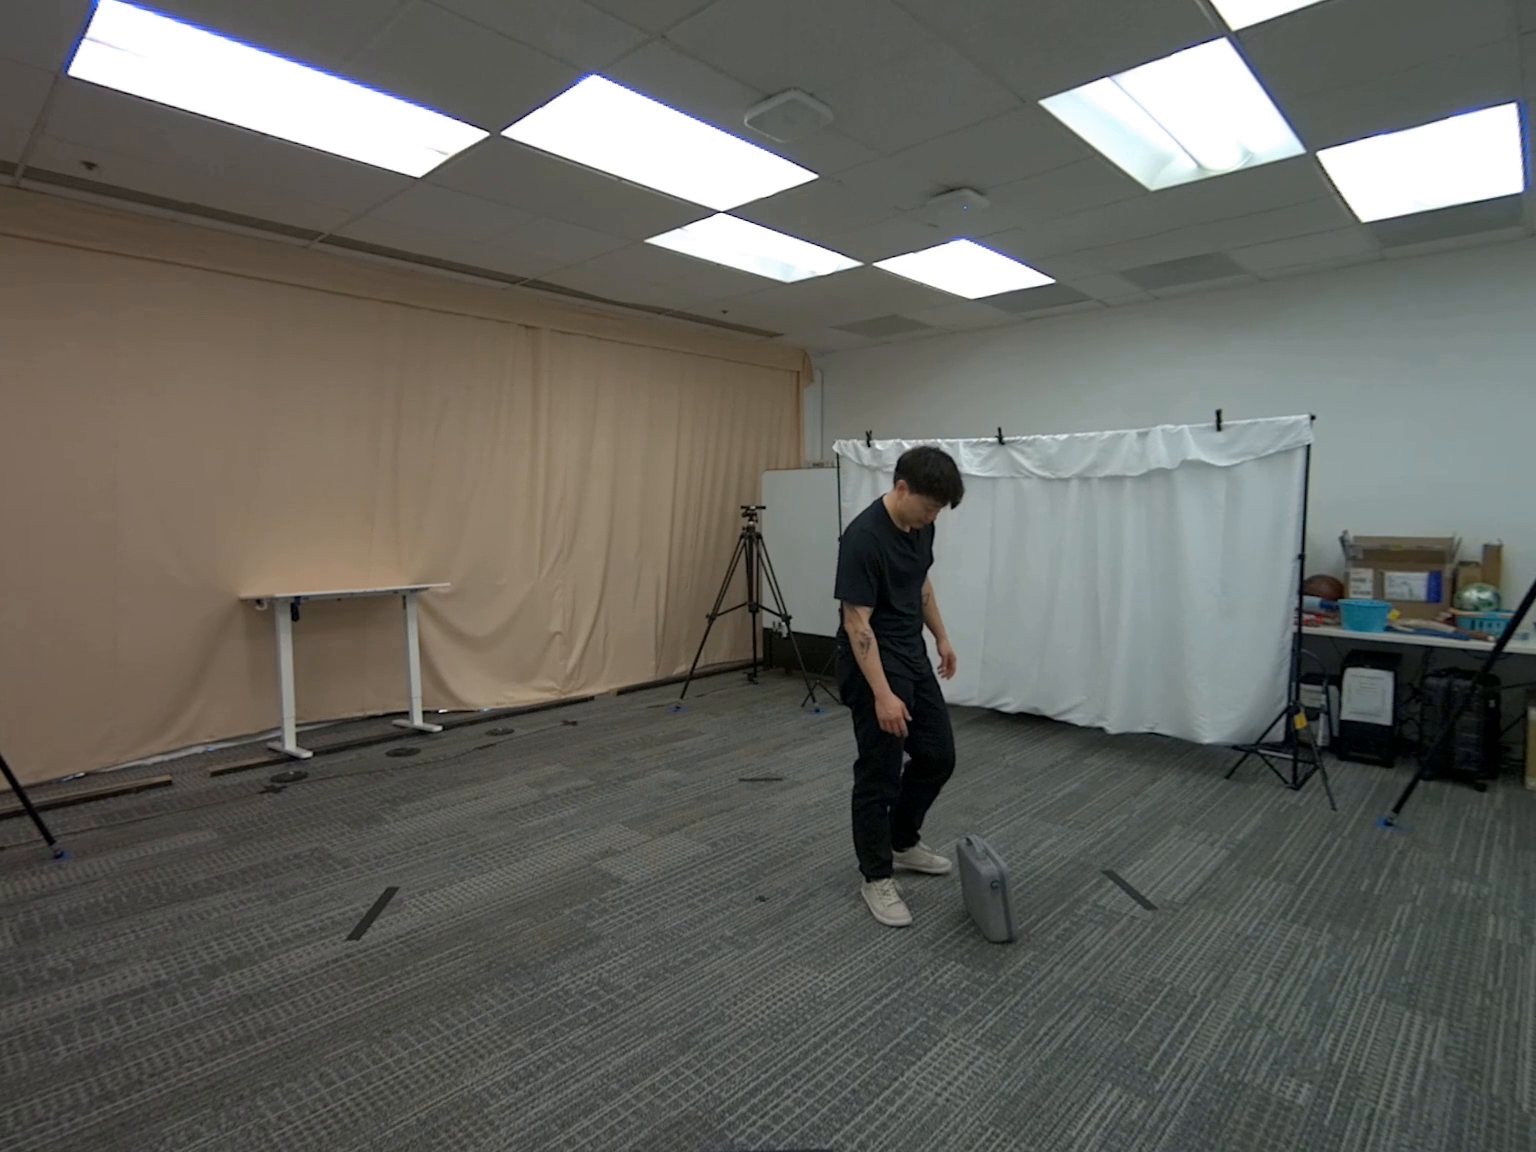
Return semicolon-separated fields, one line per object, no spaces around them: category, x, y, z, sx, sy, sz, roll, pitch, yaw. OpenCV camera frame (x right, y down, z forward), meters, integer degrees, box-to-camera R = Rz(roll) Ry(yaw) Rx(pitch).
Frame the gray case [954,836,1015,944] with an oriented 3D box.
gray case;0.727;1.025;2.772;0.104;0.260;0.258;-8;5;-4
